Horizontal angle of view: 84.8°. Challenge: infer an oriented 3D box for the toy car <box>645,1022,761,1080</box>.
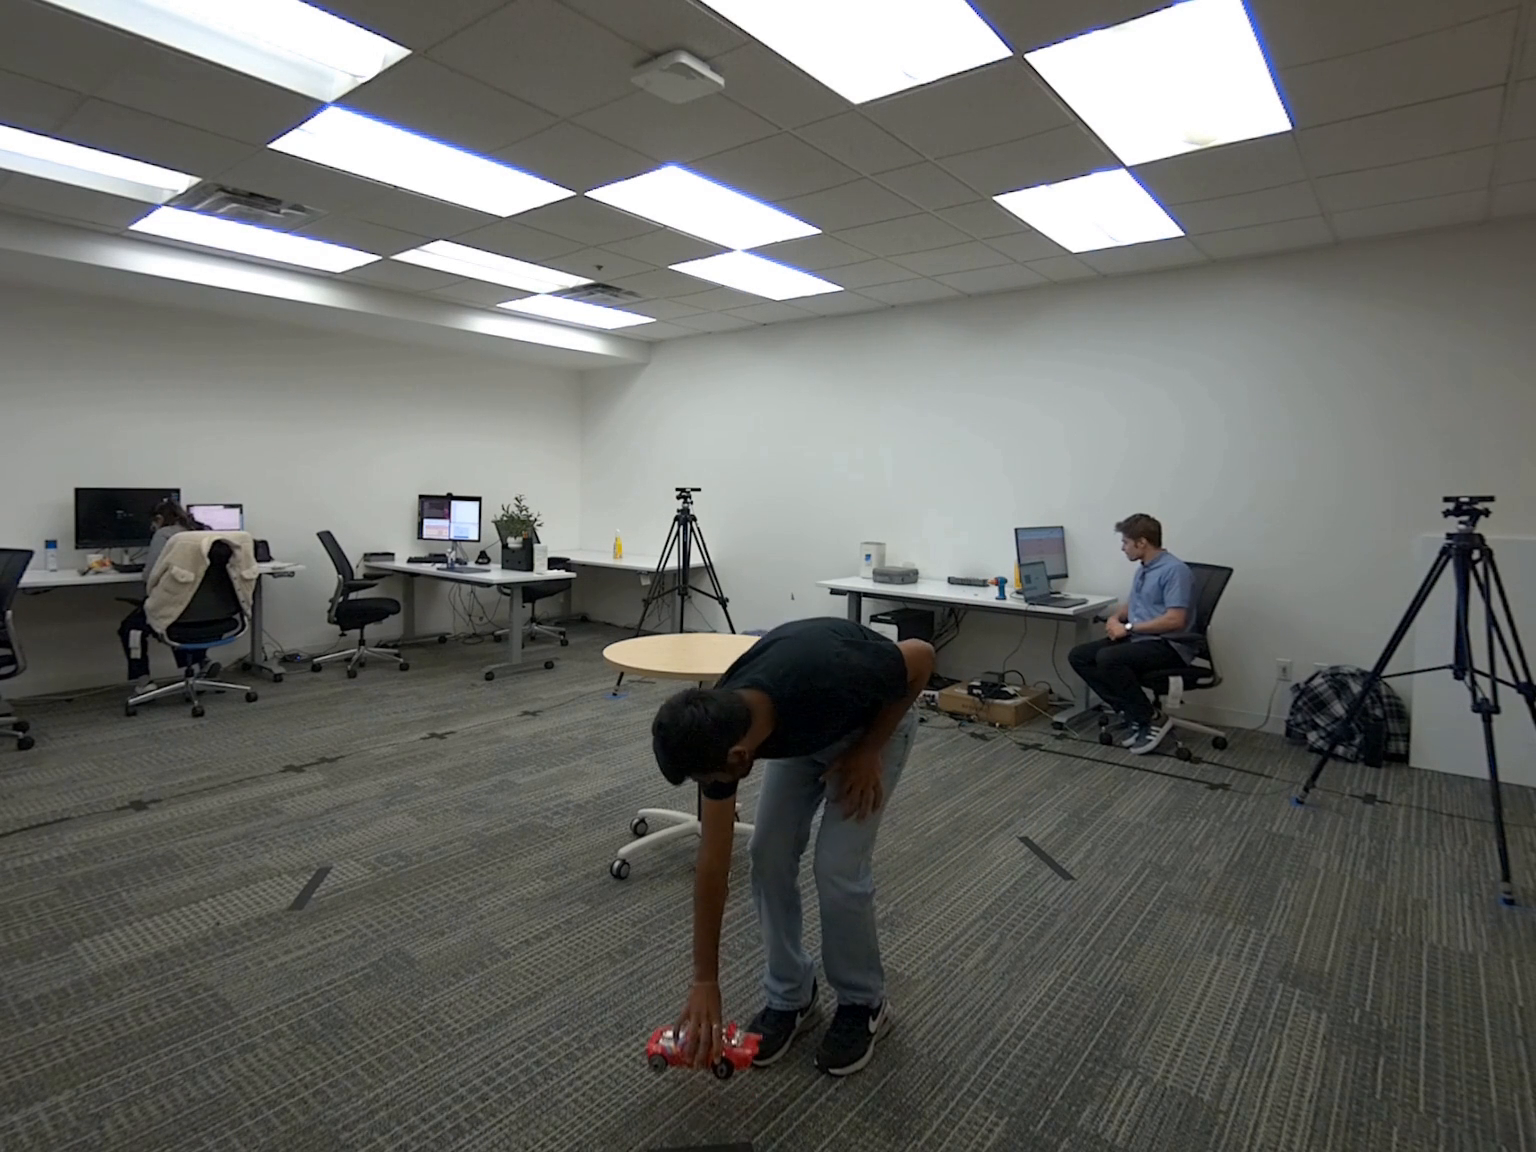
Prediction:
[{"bbox_3d":[-0.137,1.044,1.880,0.256,0.083,0.129,-13,0,7],"label":"toy car"}]
